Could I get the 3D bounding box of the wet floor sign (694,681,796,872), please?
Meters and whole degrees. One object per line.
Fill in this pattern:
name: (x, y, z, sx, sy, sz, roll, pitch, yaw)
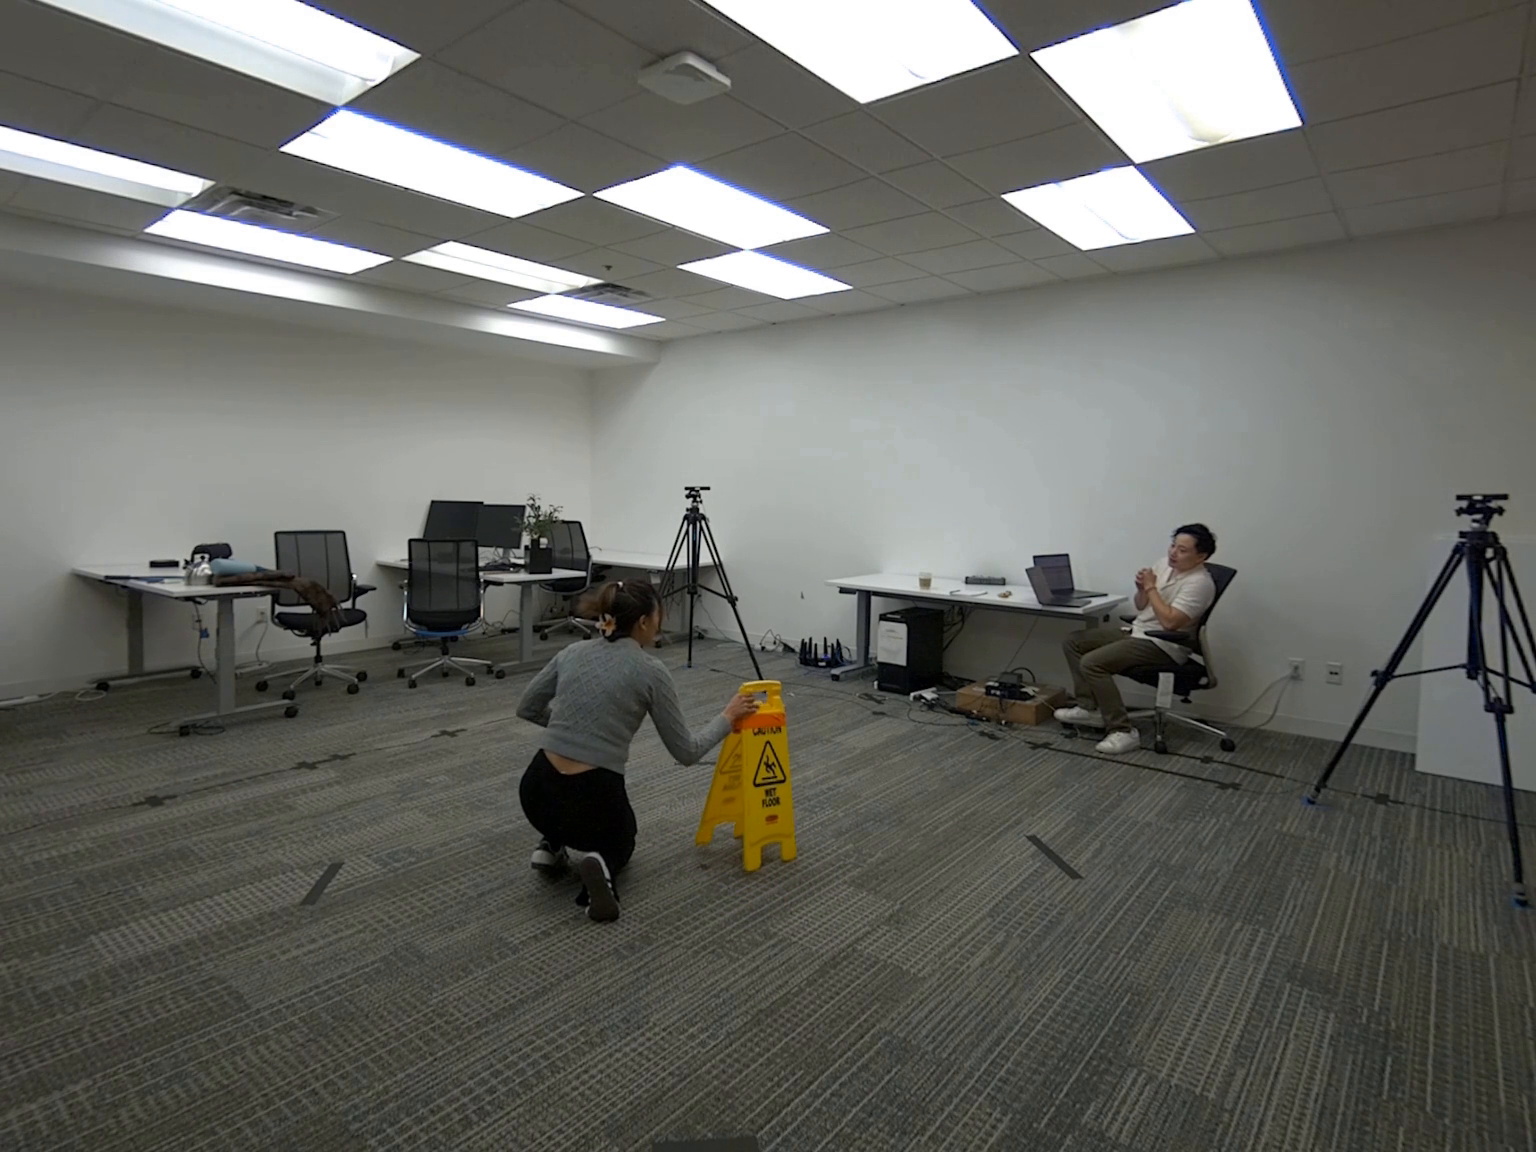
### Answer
wet floor sign: (-0.060, 0.722, 3.230, 0.272, 0.646, 0.300, 6, 0, -45)
